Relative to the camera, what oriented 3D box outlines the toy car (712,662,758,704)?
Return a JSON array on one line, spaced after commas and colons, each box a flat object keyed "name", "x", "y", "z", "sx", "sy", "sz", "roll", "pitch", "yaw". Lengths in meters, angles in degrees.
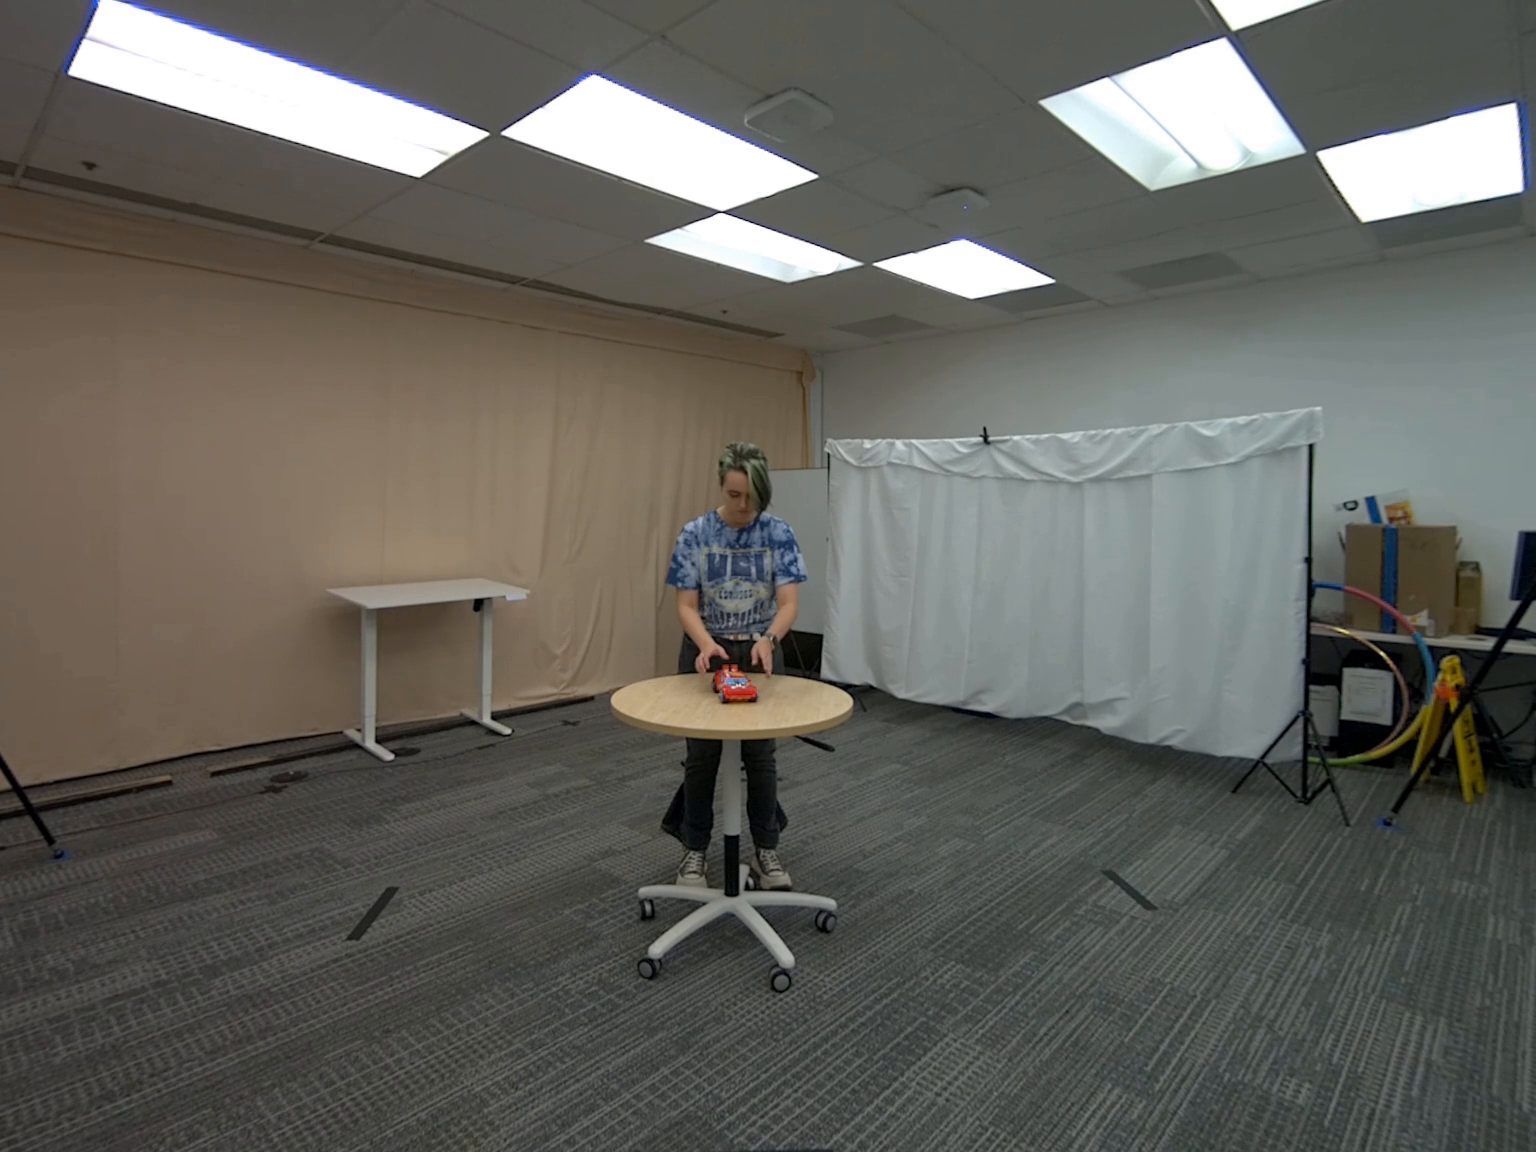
[{"name": "toy car", "x": -0.110, "y": 0.350, "z": 2.710, "sx": 0.129, "sy": 0.082, "sz": 0.259, "roll": 0, "pitch": 17, "yaw": -9}]
